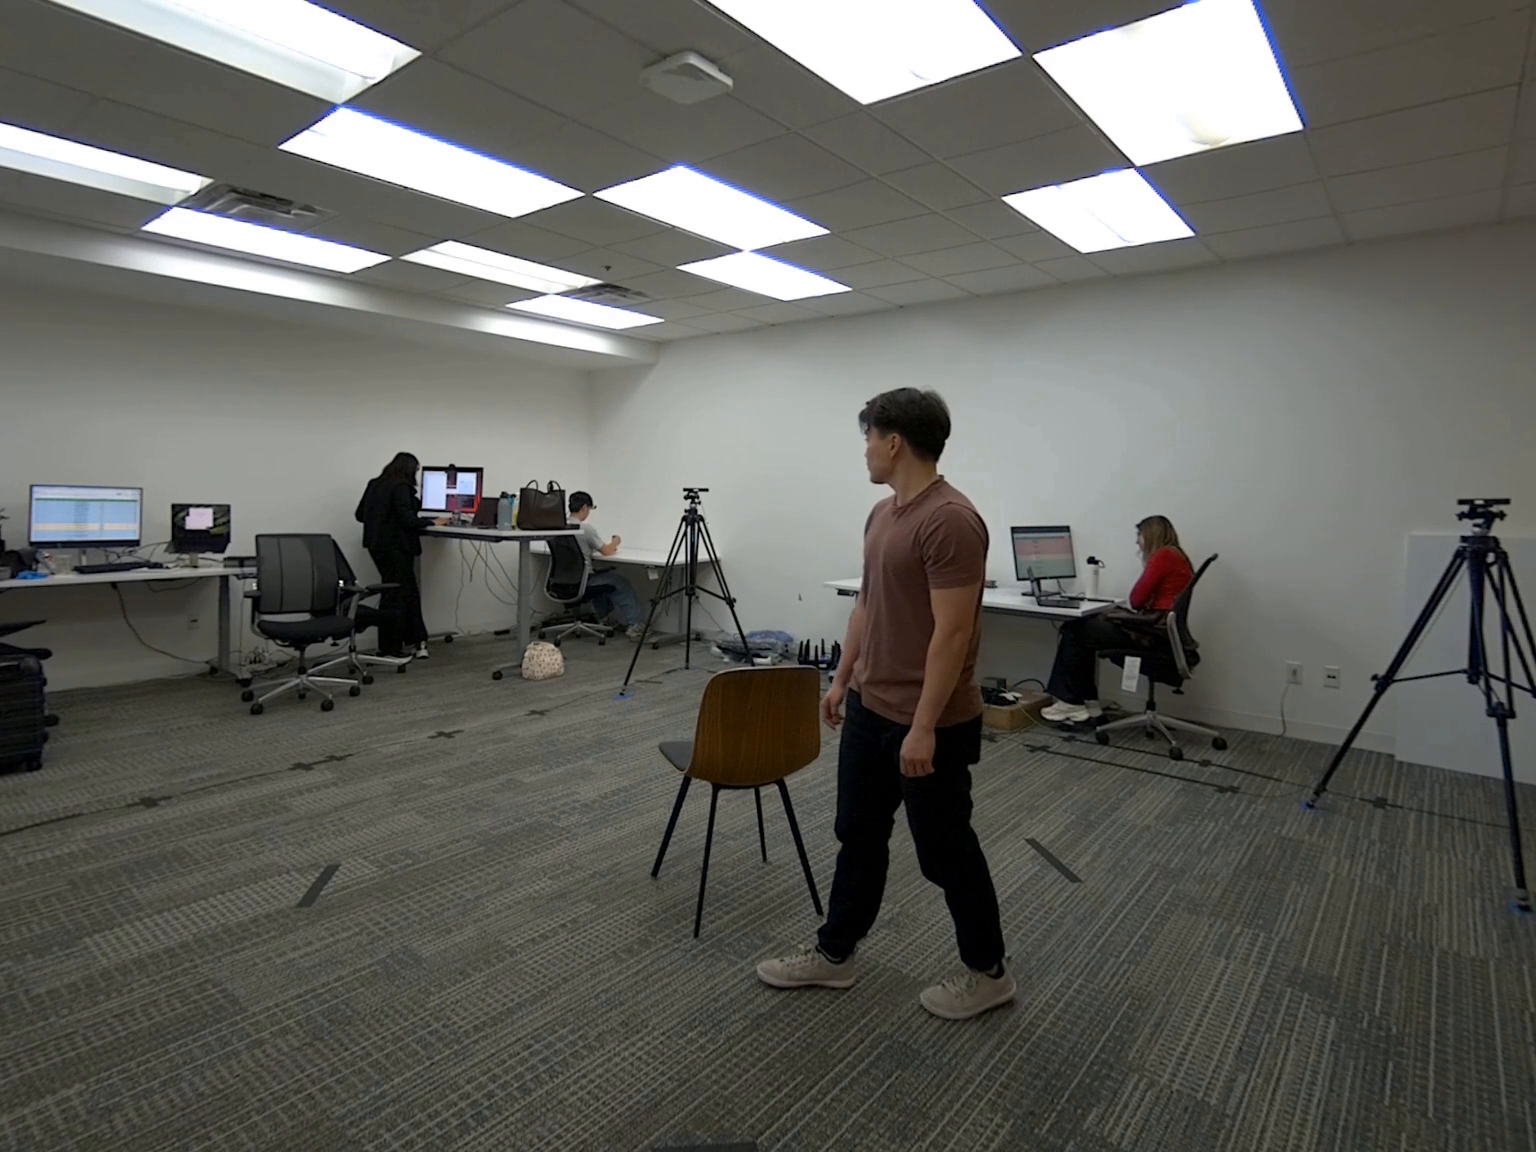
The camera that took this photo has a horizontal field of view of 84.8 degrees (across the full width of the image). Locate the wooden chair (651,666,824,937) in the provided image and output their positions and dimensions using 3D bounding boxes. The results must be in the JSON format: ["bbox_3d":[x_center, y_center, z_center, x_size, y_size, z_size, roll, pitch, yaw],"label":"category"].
[{"bbox_3d":[-0.119,0.666,2.891,0.467,0.872,0.538,0,8,-23],"label":"wooden chair"}]
